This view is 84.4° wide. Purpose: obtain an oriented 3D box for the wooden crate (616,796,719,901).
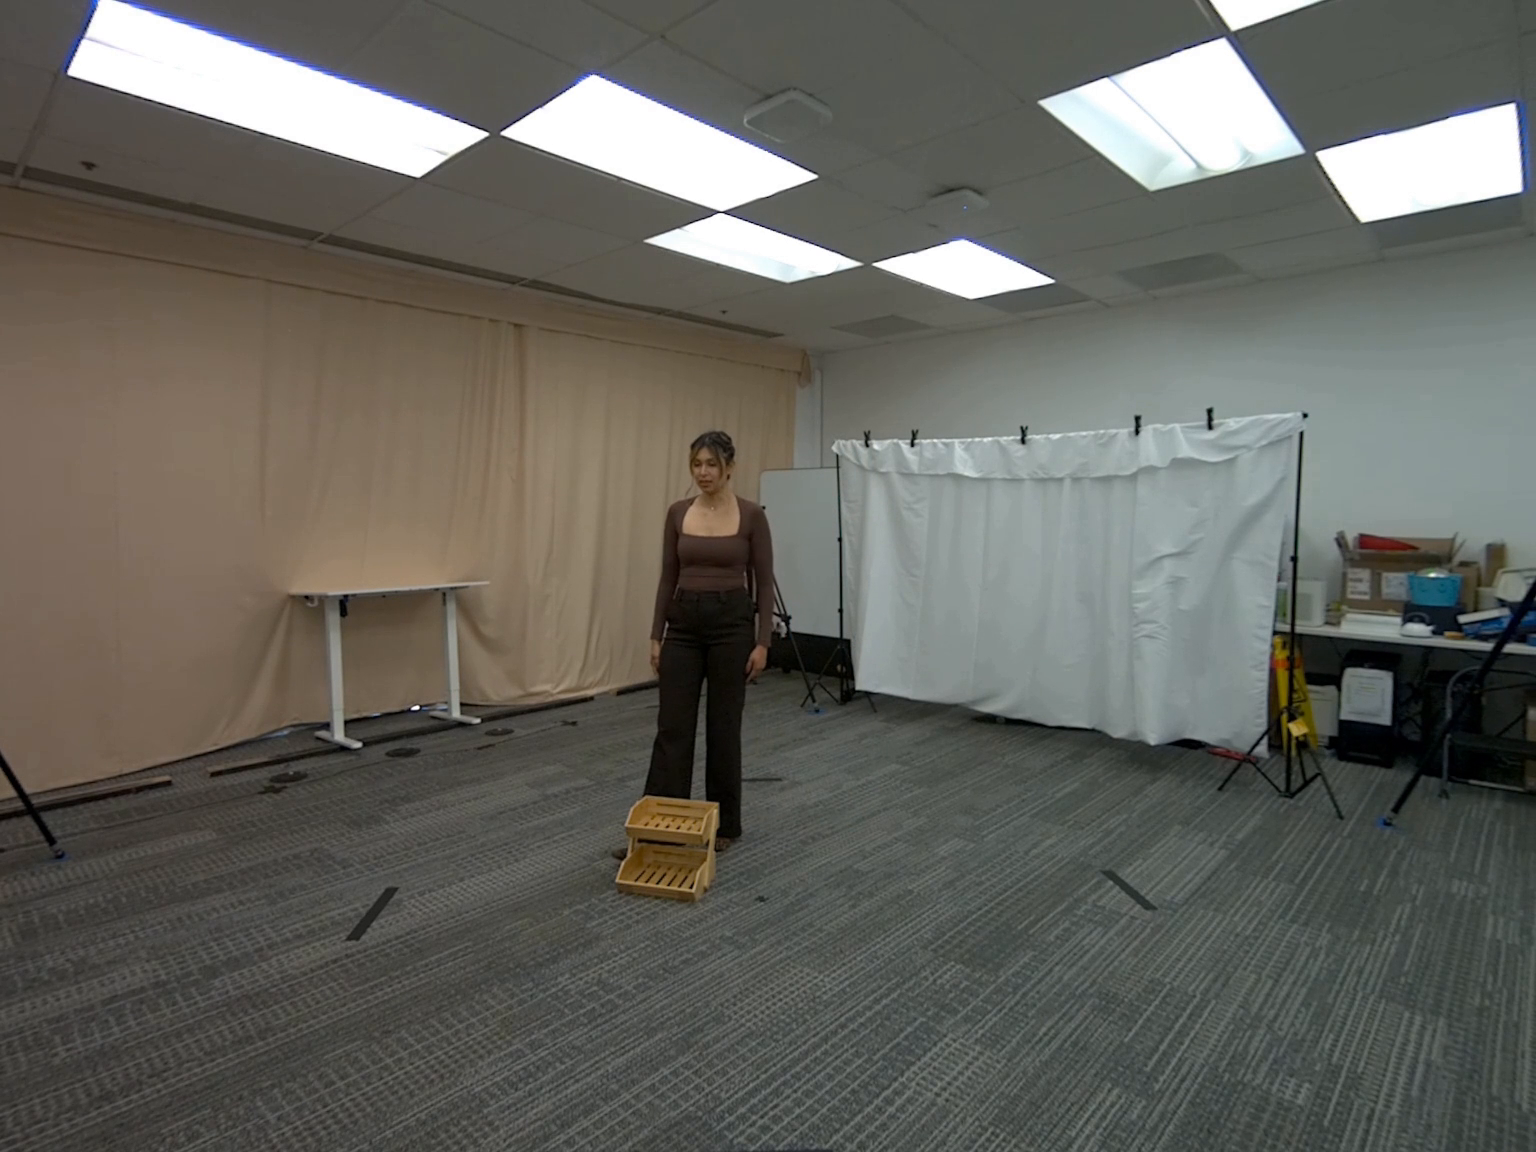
[{"bbox_3d":[-0.368,0.996,3.120,0.330,0.273,0.297,1,3,15],"label":"wooden crate"}]
